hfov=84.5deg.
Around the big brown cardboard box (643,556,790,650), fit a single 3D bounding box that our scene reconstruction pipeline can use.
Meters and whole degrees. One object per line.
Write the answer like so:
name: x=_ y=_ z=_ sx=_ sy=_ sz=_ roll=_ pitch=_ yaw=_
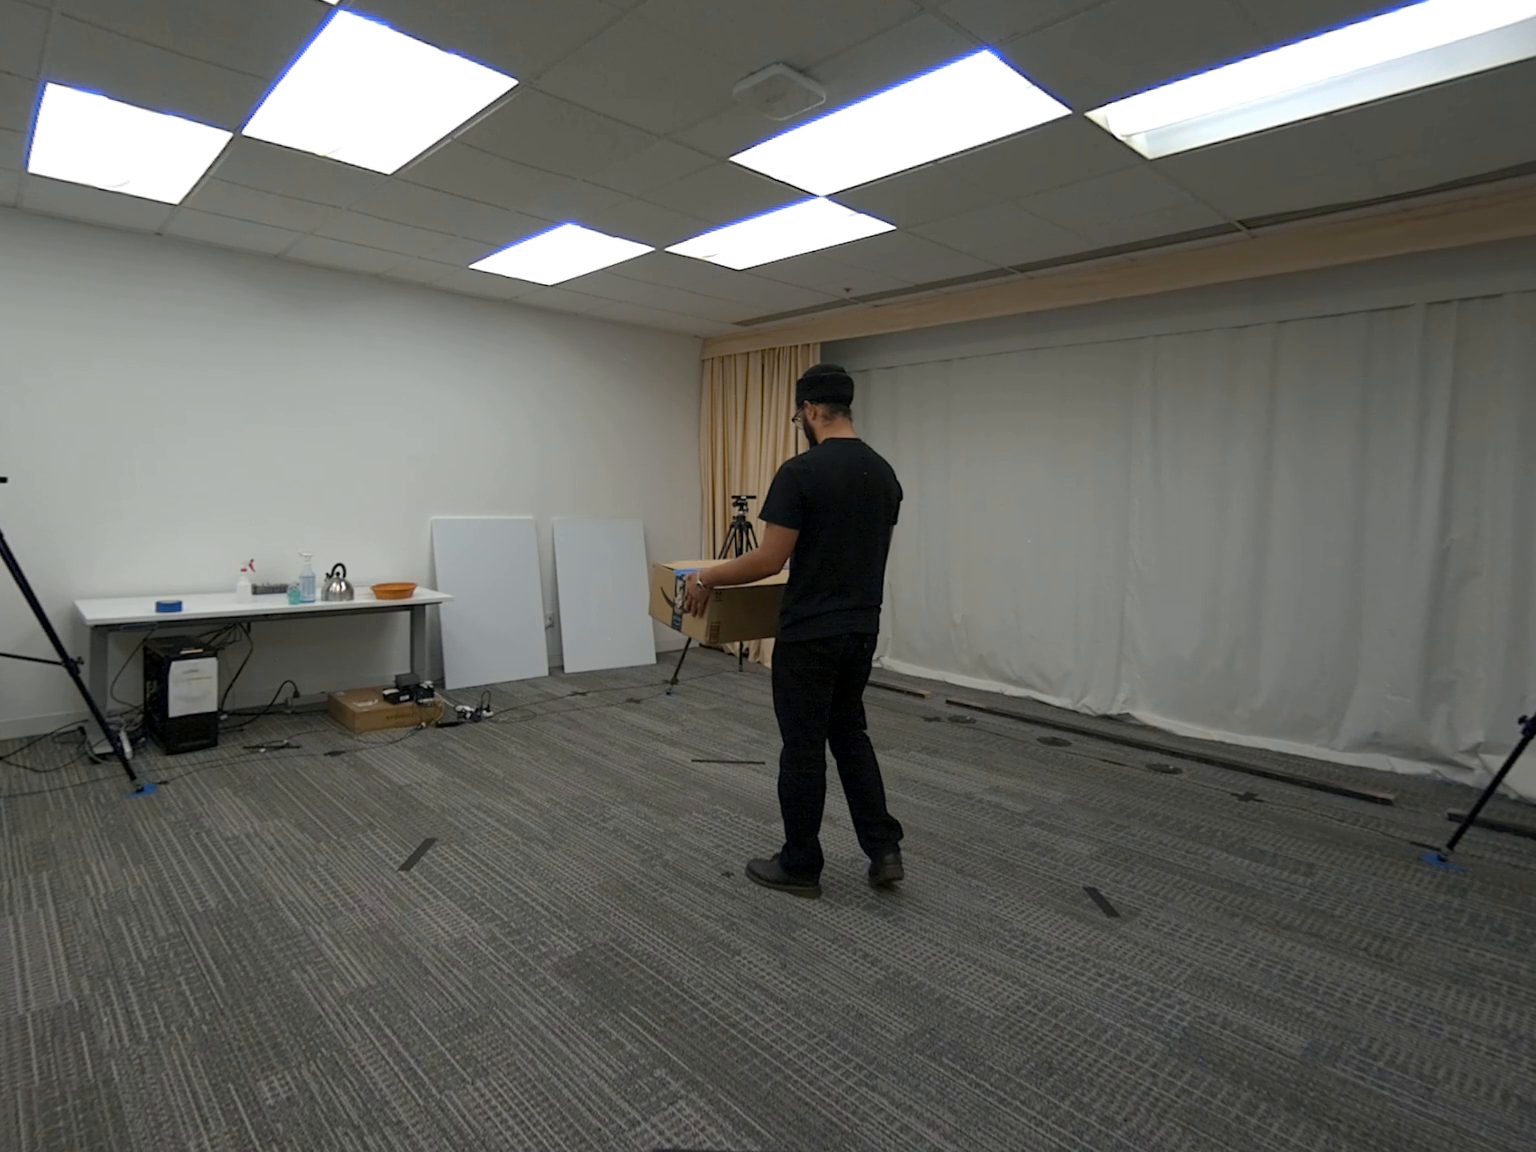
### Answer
big brown cardboard box: x=-0.114 y=0.085 z=3.280 sx=0.576 sy=0.231 sz=0.430 roll=-2 pitch=14 yaw=-38
